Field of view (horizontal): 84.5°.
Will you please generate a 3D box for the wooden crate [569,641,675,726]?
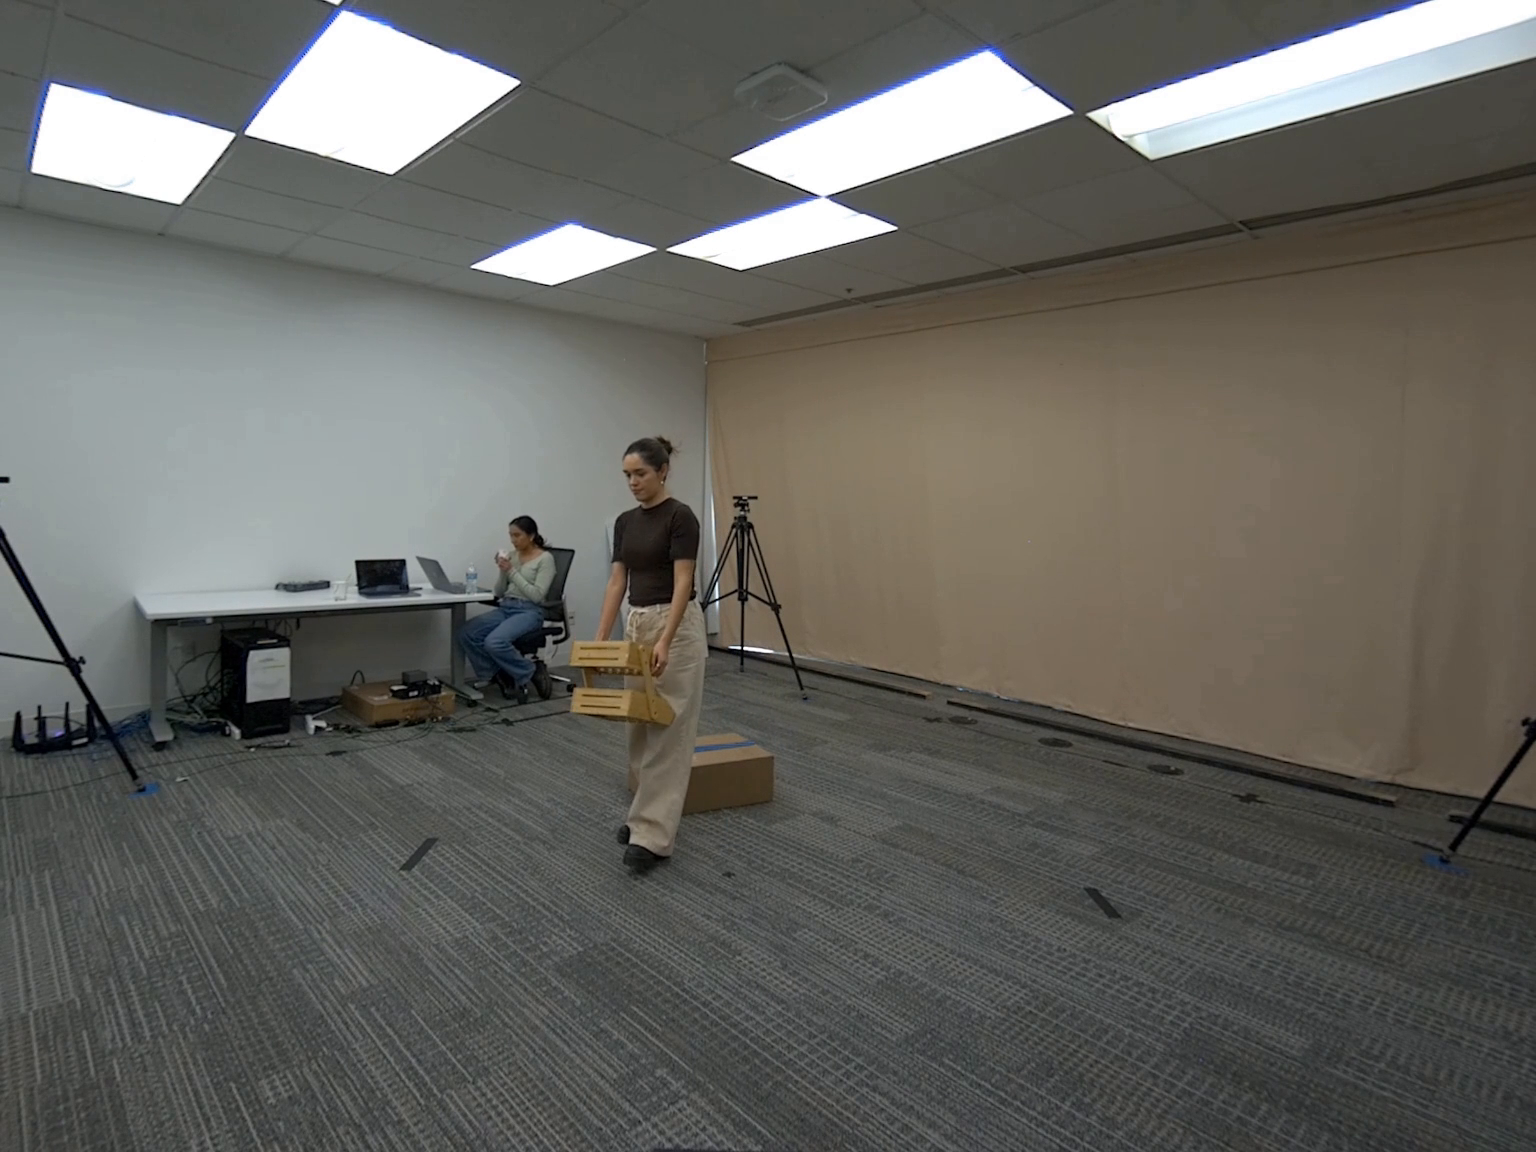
[{"bbox_3d":[-0.562,0.401,3.165,0.331,0.276,0.293,-3,-18,32],"label":"wooden crate"}]
